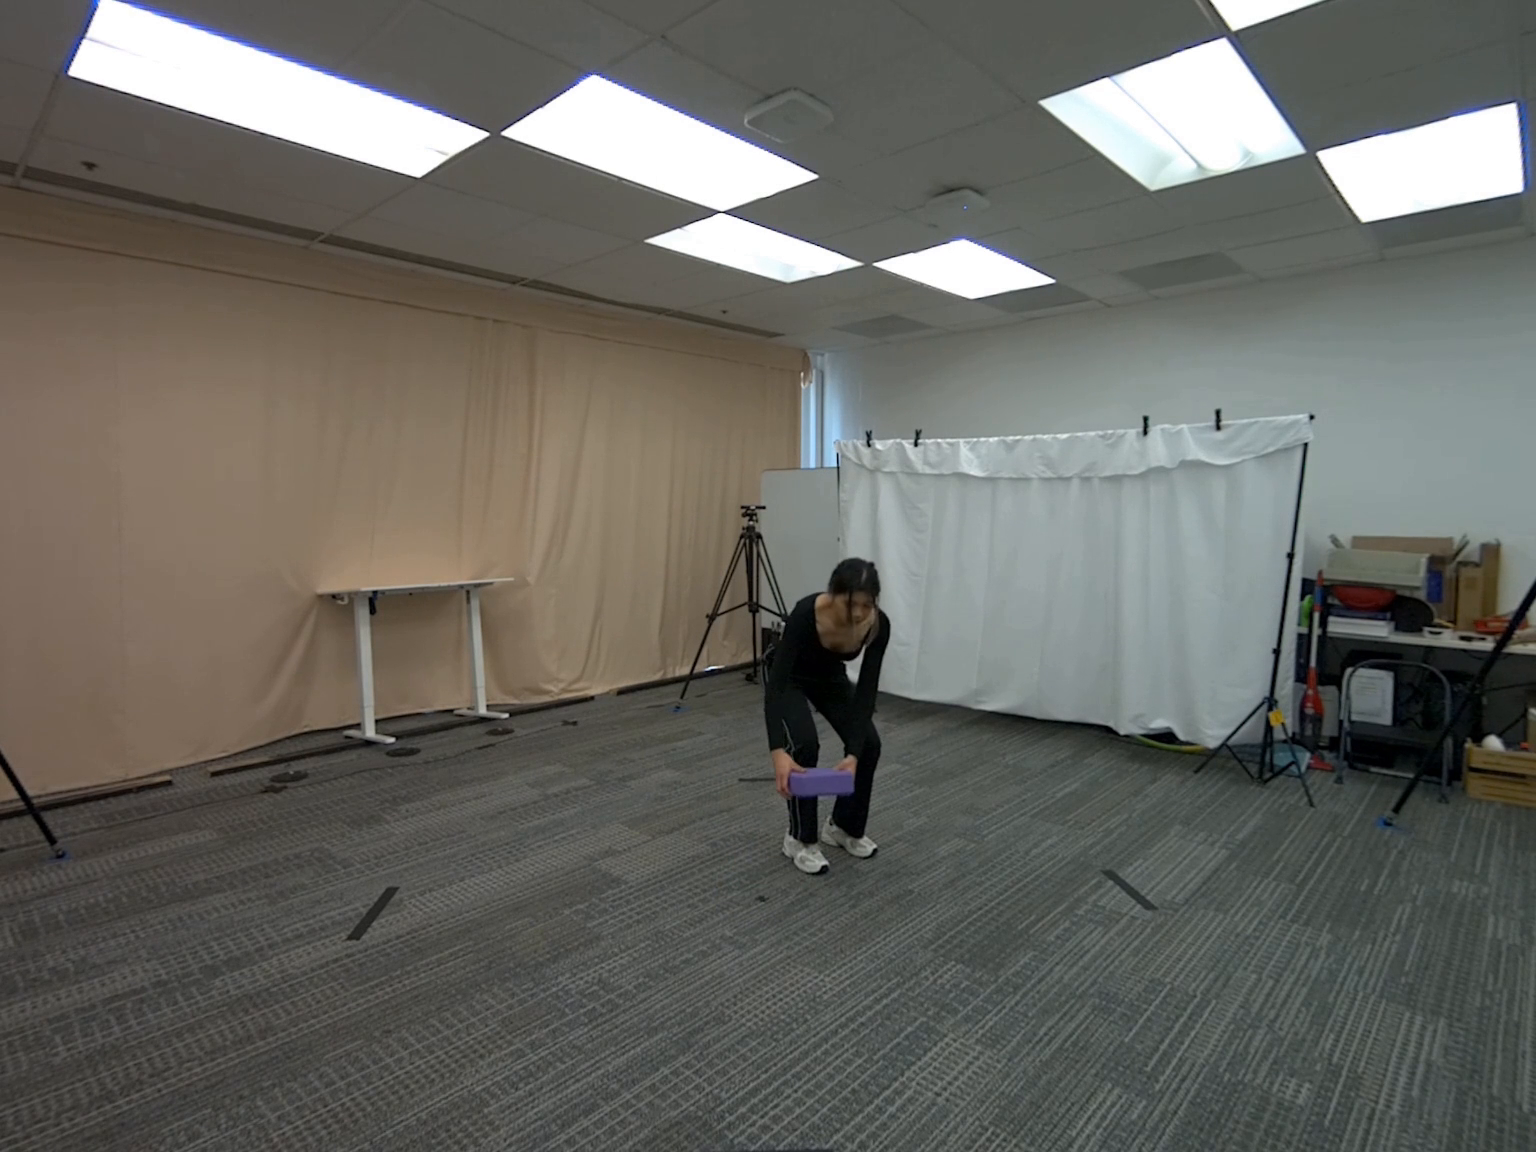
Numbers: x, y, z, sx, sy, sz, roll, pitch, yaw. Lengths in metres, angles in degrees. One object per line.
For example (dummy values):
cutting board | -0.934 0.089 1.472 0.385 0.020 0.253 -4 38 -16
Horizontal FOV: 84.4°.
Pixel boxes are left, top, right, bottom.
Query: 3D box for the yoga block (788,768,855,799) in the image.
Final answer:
yoga block | 0.185 0.718 2.975 0.223 0.077 0.152 3 -5 -26
